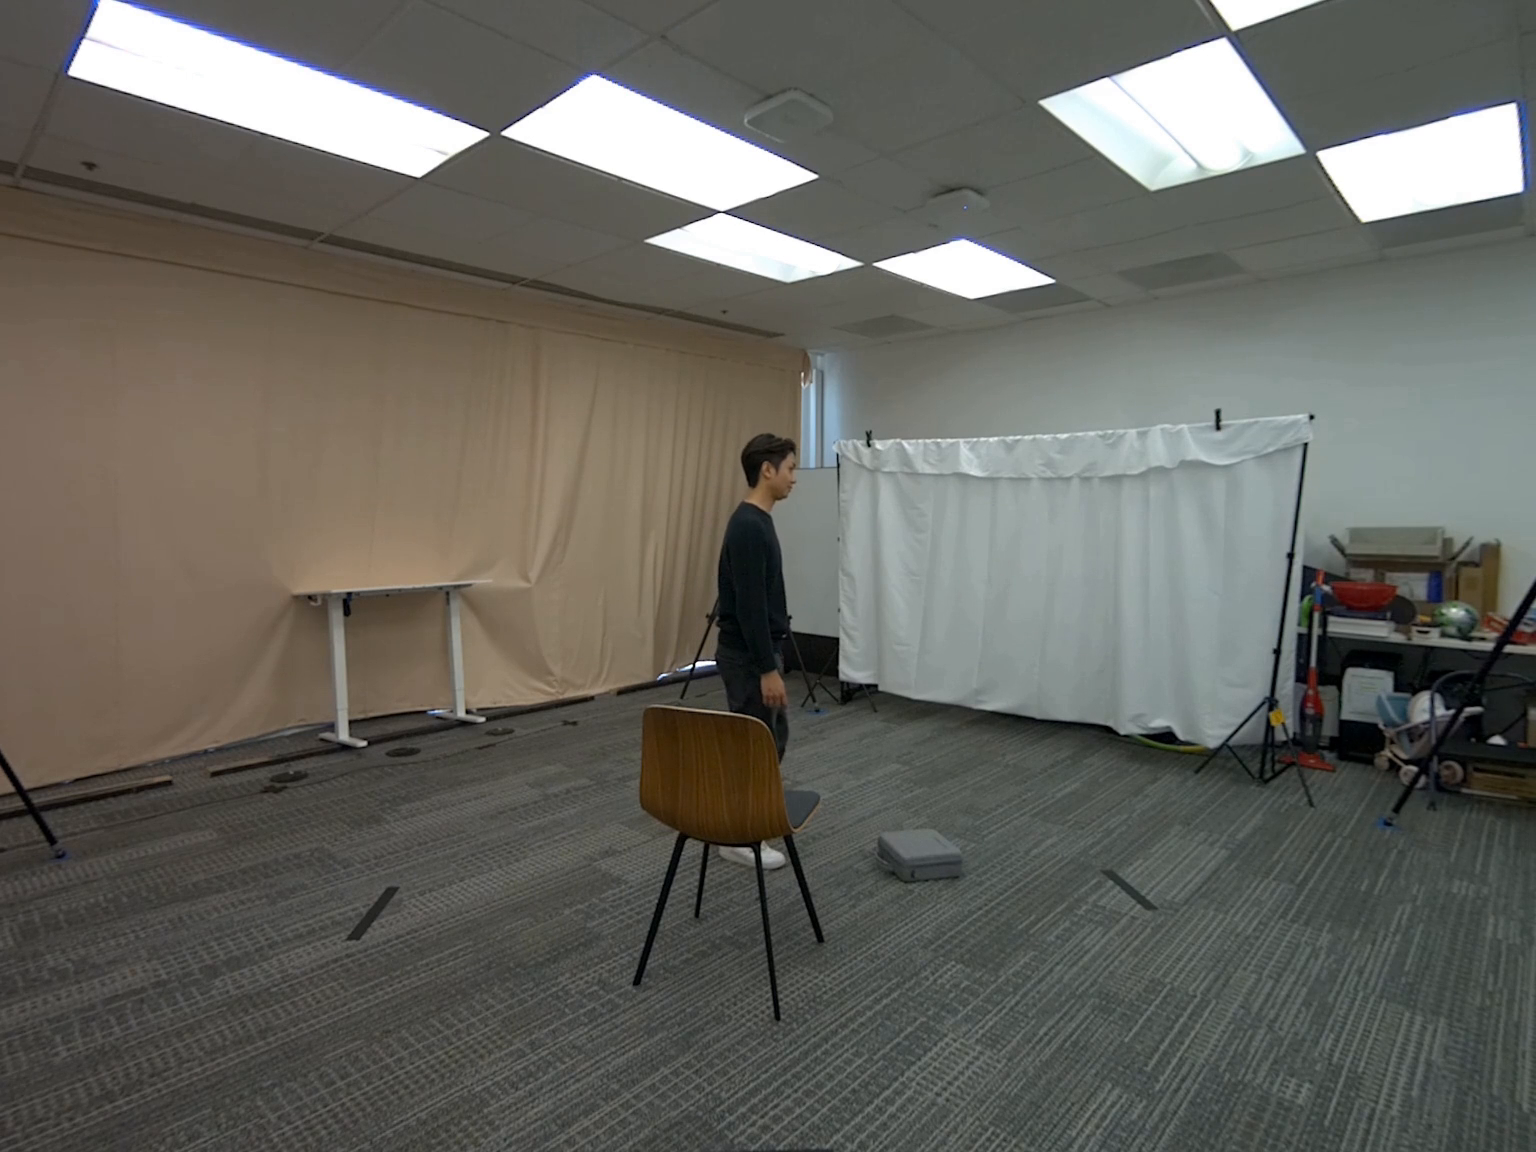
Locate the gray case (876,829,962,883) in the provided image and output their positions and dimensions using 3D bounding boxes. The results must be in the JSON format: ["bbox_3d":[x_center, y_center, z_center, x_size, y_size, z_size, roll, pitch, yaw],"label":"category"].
[{"bbox_3d":[0.582,1.067,3.227,0.257,0.104,0.261,-1,5,-14],"label":"gray case"}]
